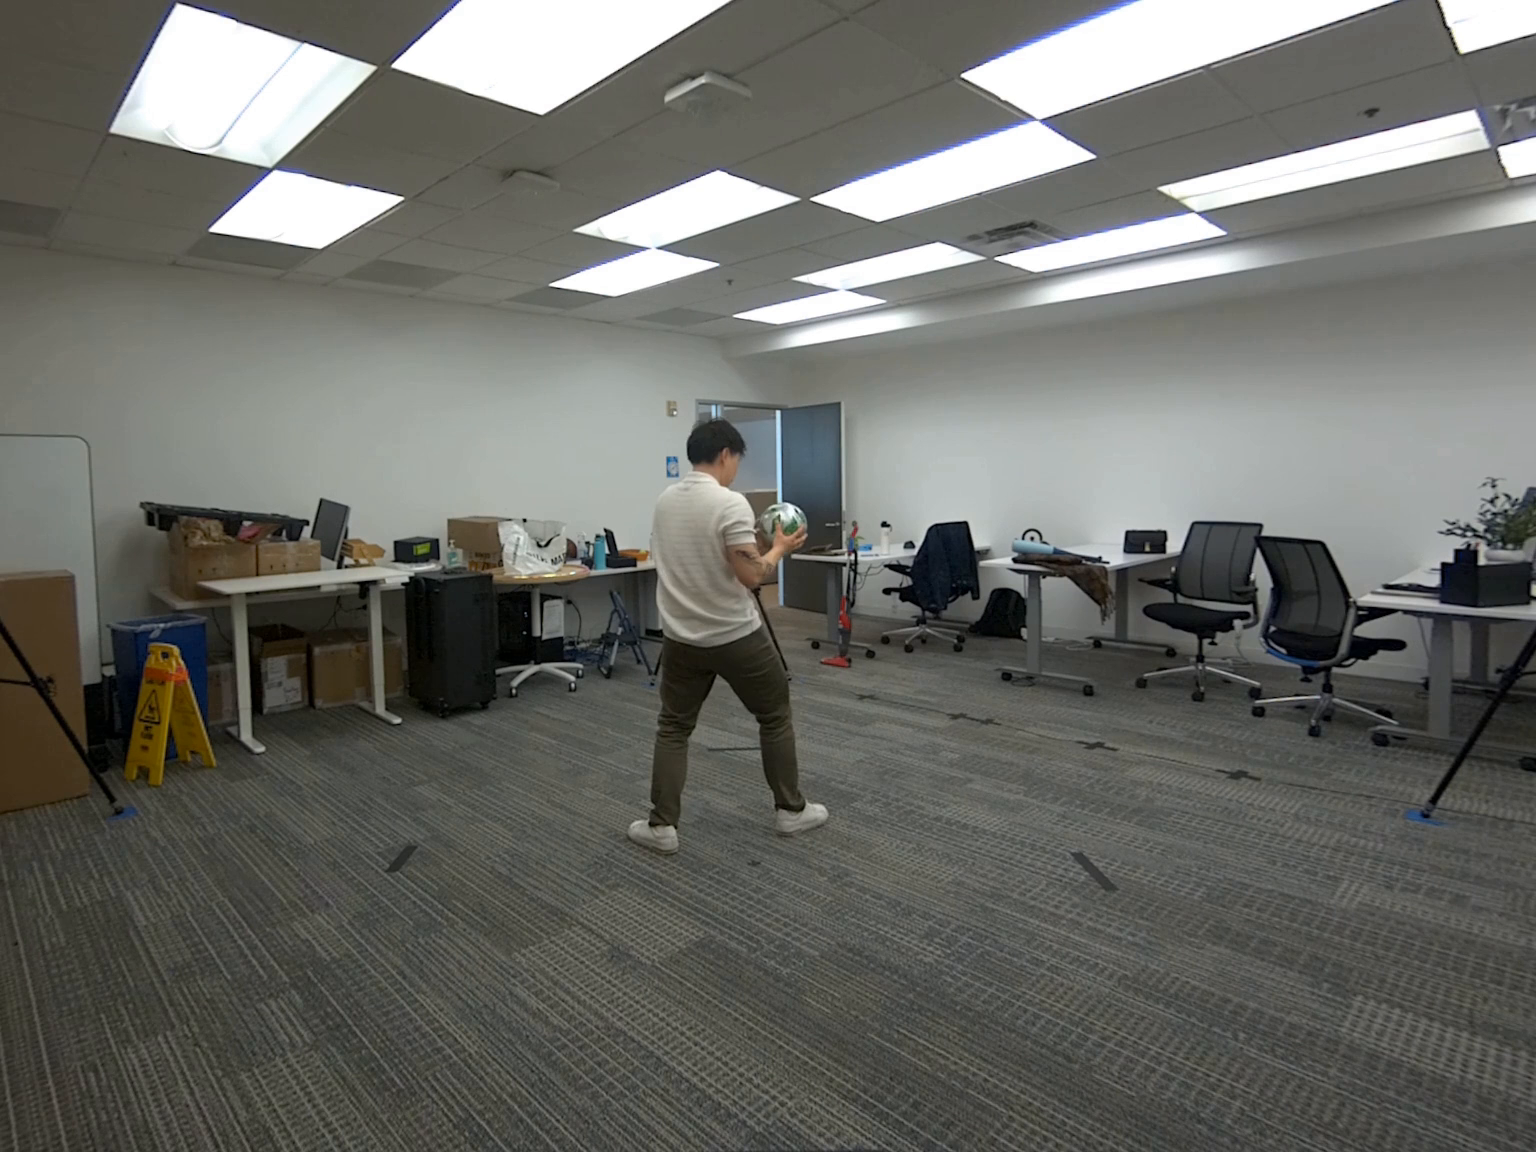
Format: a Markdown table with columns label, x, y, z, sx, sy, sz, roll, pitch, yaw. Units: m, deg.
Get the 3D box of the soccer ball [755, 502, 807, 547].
| label | x | y | z | sx | sy | sz | roll | pitch | yaw |
| --- | --- | --- | --- | --- | --- | --- | --- | --- | --- |
| soccer ball | 0.055 | -0.188 | 3.361 | 0.187 | 0.187 | 0.188 | -1 | 5 | -2 |
